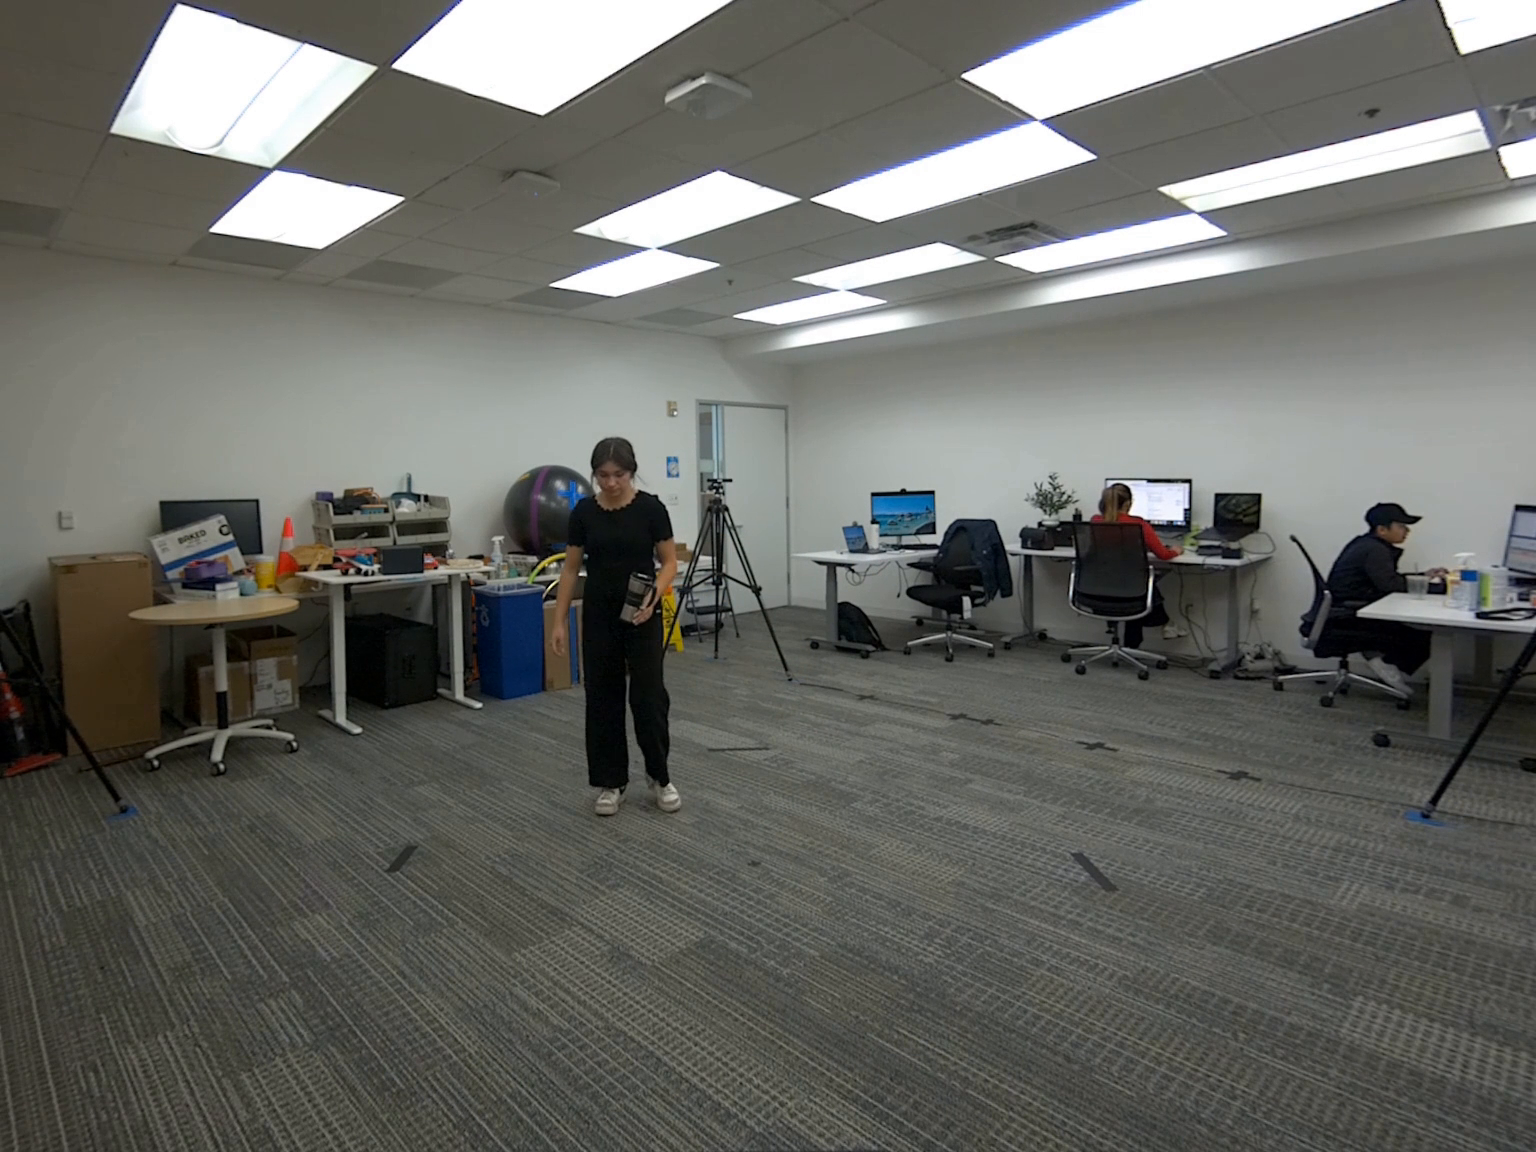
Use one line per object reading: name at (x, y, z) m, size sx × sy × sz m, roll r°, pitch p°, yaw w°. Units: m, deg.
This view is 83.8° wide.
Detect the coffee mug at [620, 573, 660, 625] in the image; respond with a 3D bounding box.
coffee mug at (-0.535, 0.100, 3.419) m, size 0.085 × 0.202 × 0.126 m, roll 15°, pitch 4°, yaw -45°
